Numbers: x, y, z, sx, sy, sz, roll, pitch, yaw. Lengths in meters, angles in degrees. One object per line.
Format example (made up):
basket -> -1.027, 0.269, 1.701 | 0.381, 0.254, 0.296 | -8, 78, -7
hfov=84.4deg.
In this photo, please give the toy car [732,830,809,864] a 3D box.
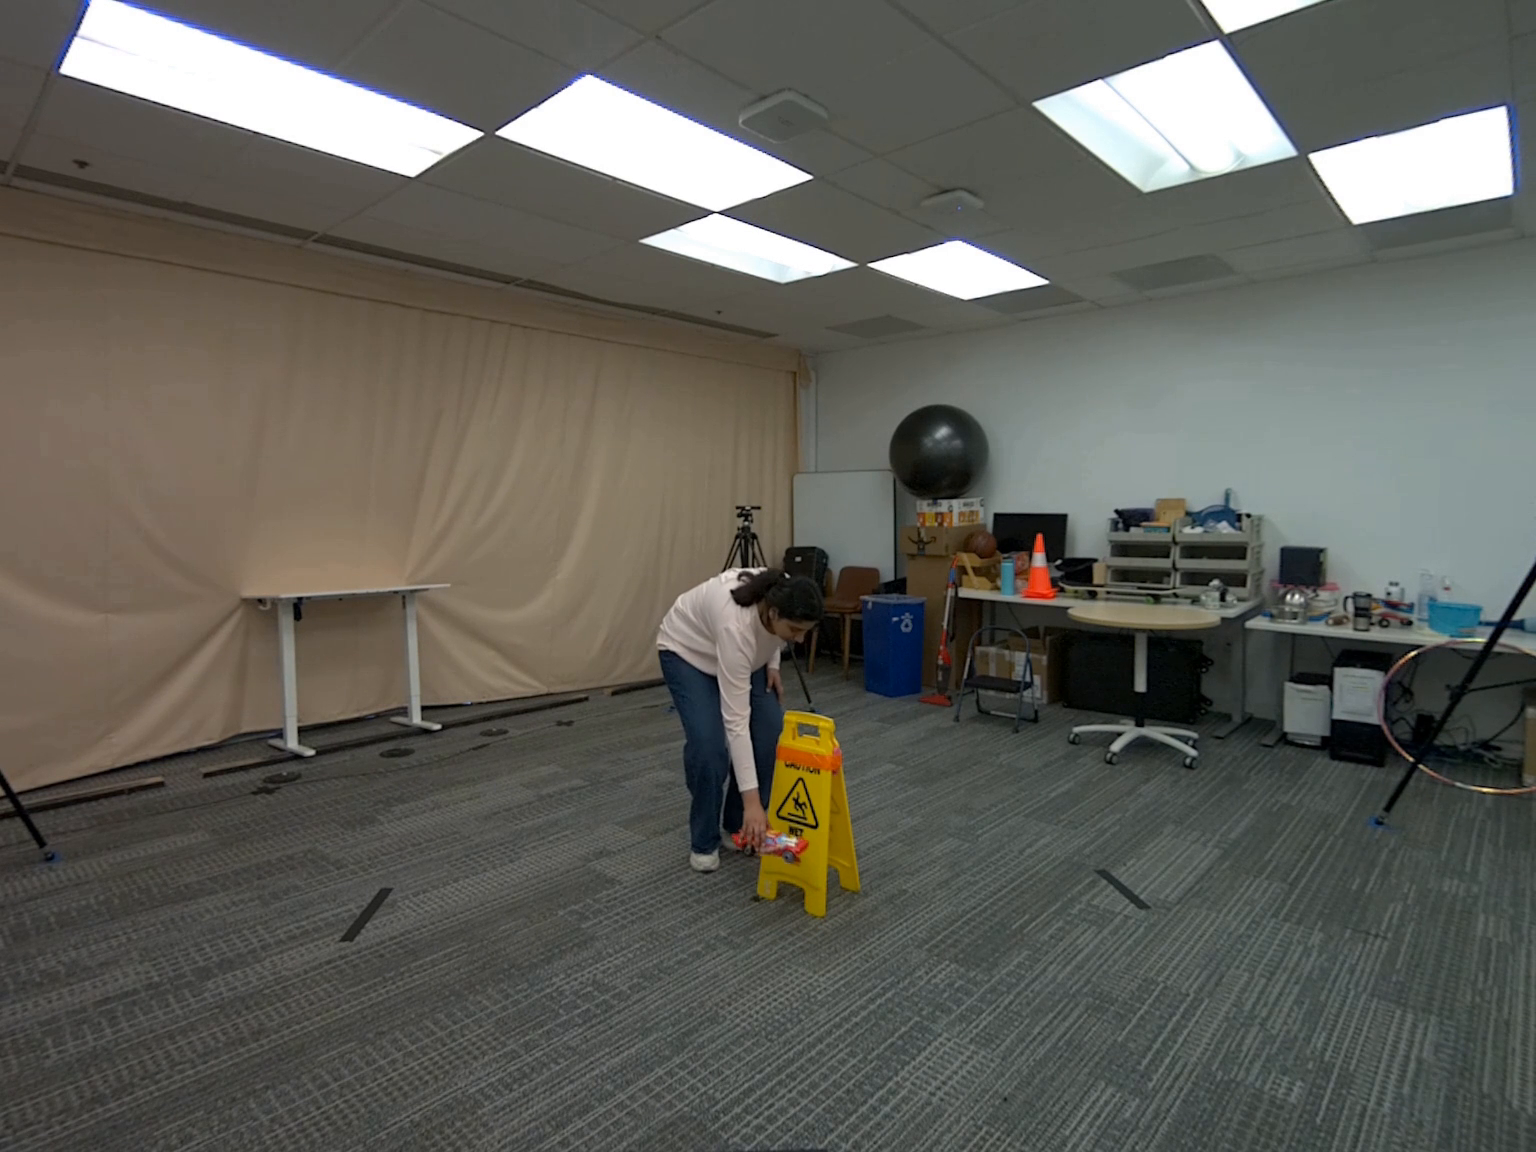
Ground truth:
toy car -> 0.007, 0.892, 2.809 | 0.262, 0.083, 0.127 | 8, 8, 29
